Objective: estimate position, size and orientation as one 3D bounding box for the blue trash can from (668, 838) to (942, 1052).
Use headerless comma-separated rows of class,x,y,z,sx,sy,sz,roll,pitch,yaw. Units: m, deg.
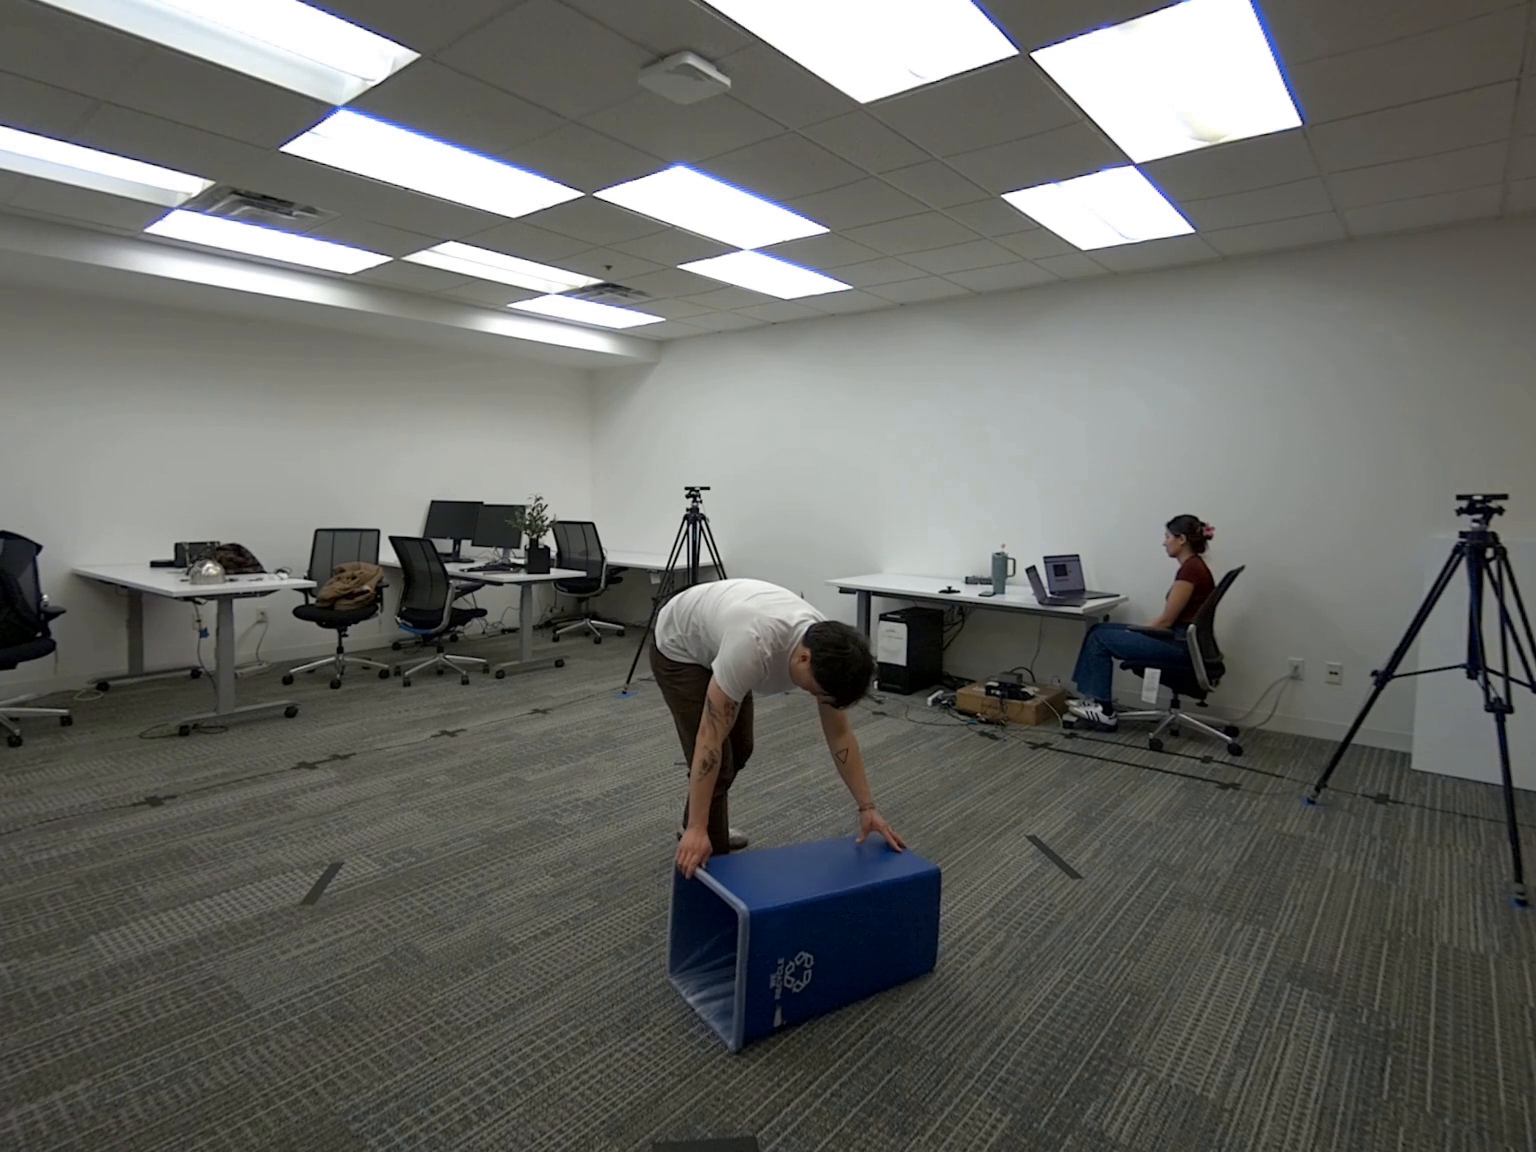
blue trash can,0.129,0.972,2.412,0.693,0.377,0.385,0,3,-32
